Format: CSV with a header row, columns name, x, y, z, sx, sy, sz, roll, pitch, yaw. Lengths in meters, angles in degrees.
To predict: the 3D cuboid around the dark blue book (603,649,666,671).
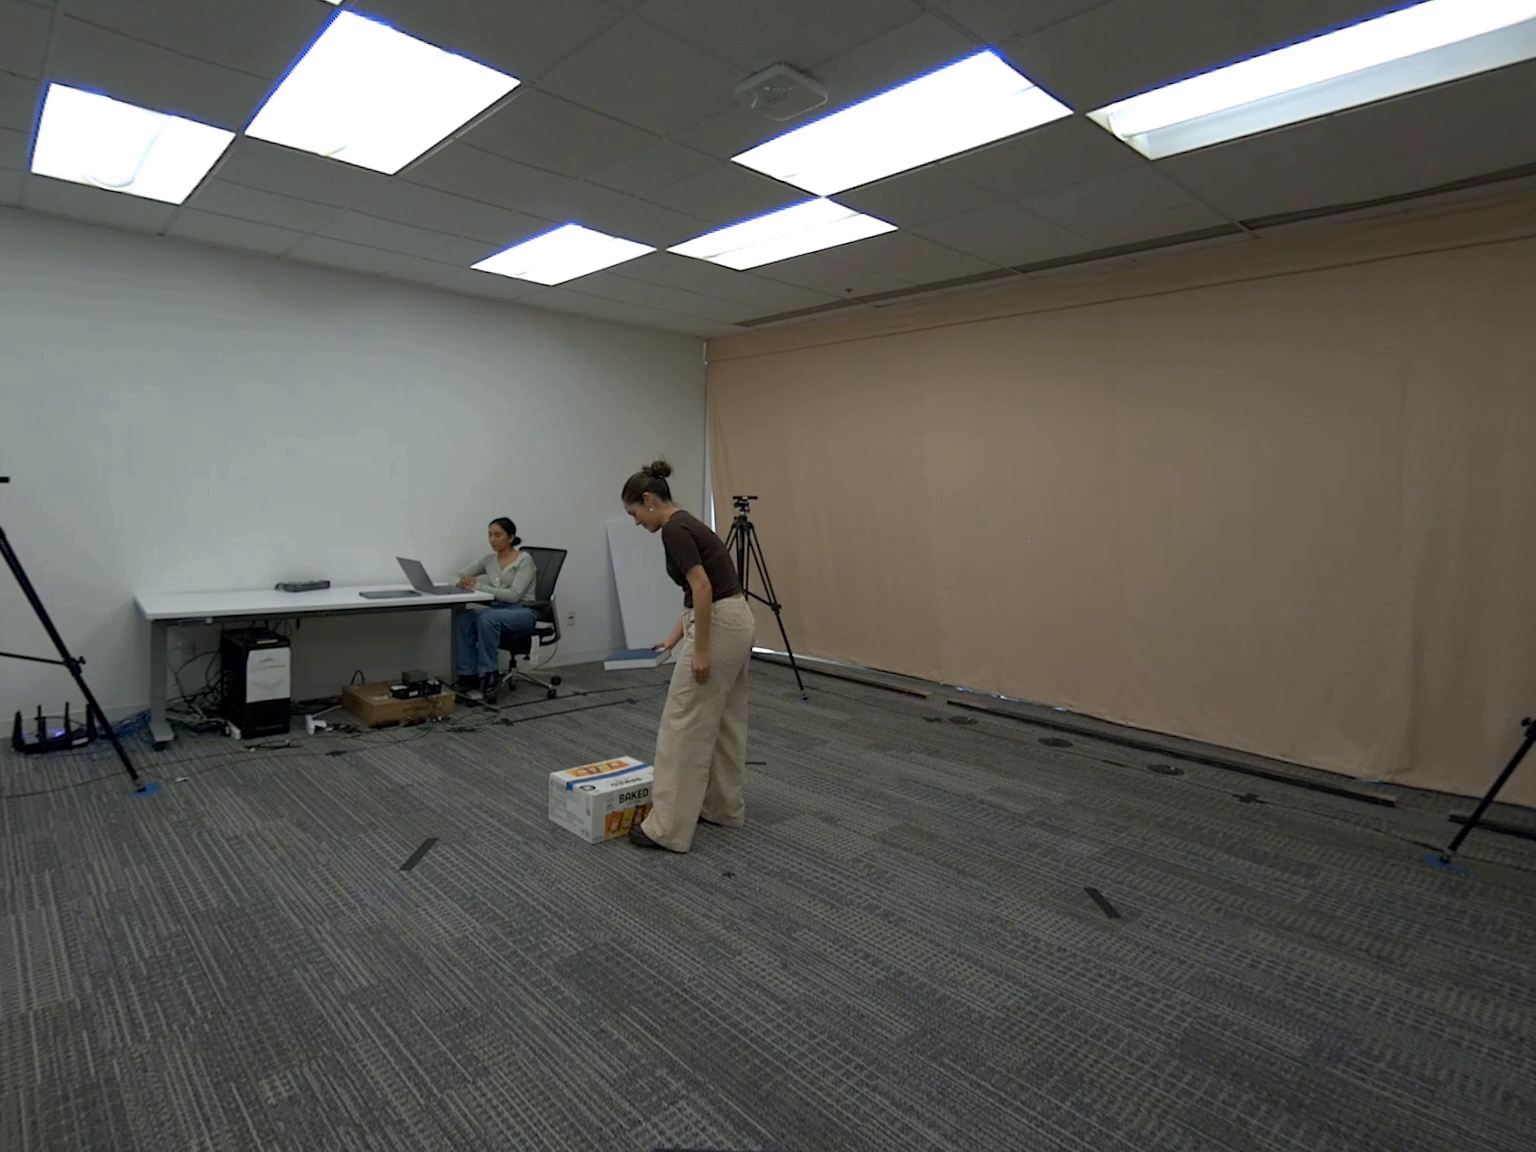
name,x,y,z,sx,sy,sz,roll,pitch,yaw
dark blue book,-0.559,0.343,3.511,0.249,0.045,0.162,-4,9,21
